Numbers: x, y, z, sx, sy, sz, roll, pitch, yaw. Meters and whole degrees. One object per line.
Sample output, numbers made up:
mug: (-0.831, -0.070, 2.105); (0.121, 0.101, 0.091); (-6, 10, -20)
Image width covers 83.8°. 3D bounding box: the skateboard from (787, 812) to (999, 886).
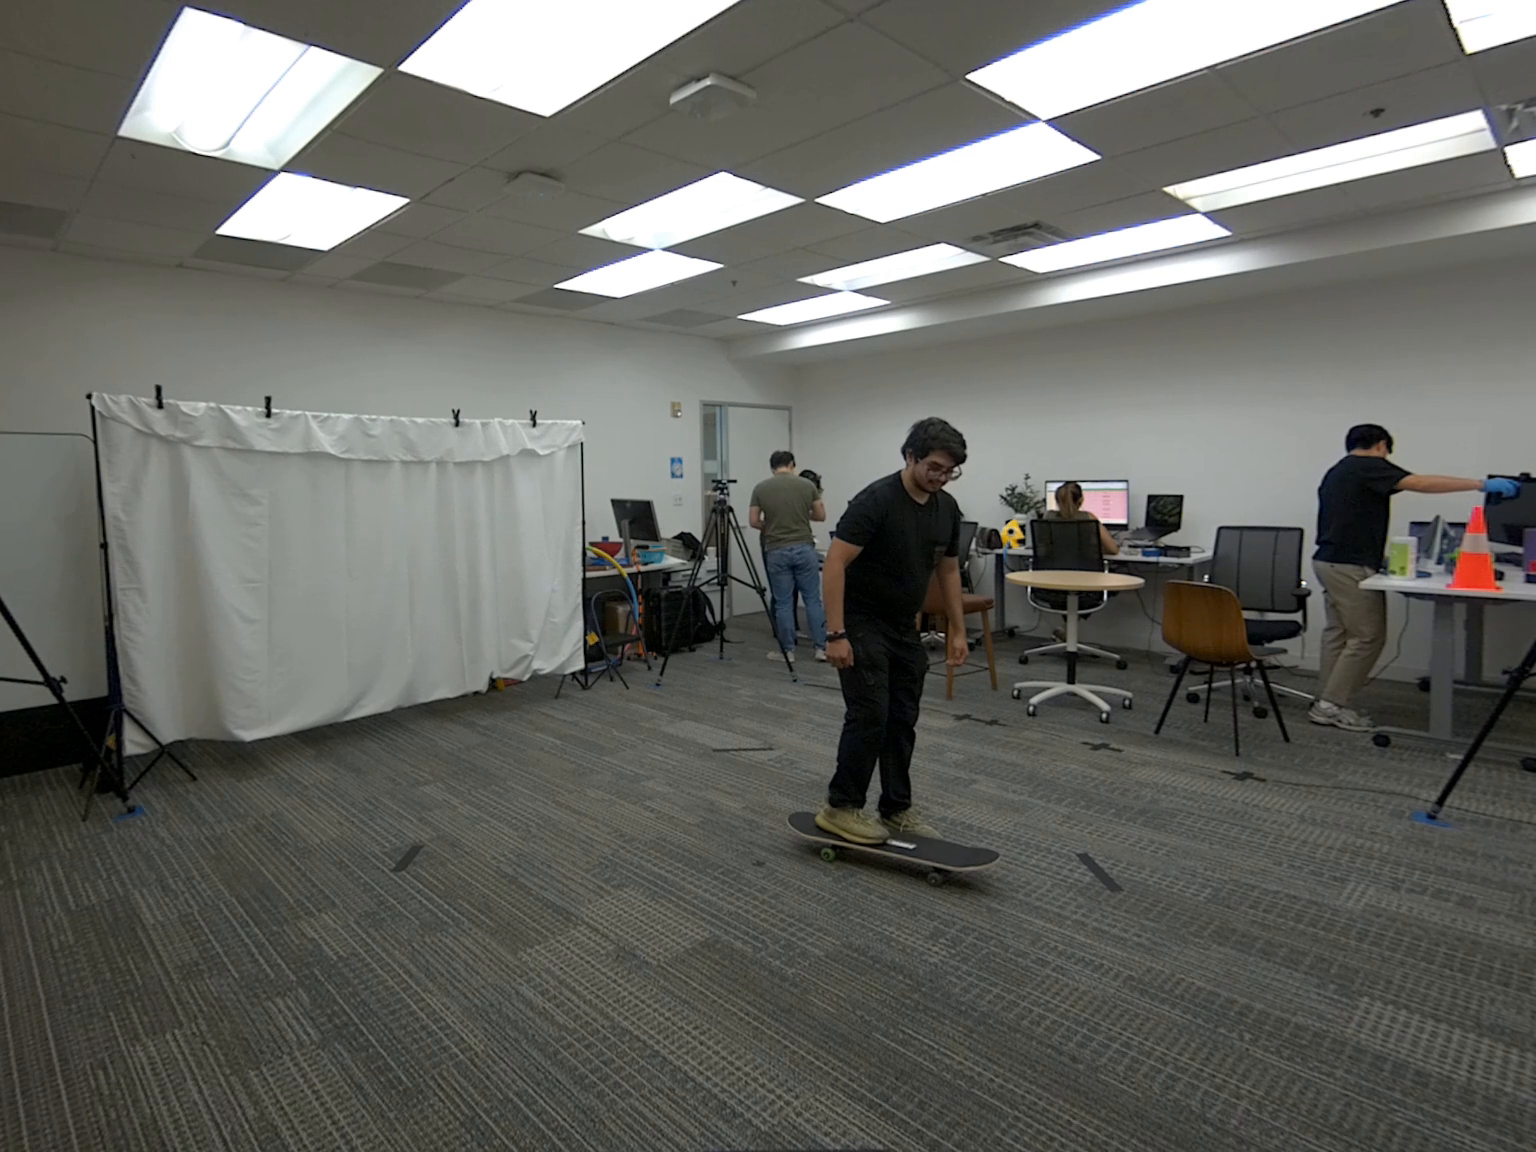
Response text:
skateboard: (0.441, 0.992, 3.083); (0.806, 0.110, 0.189); (2, 6, 31)
